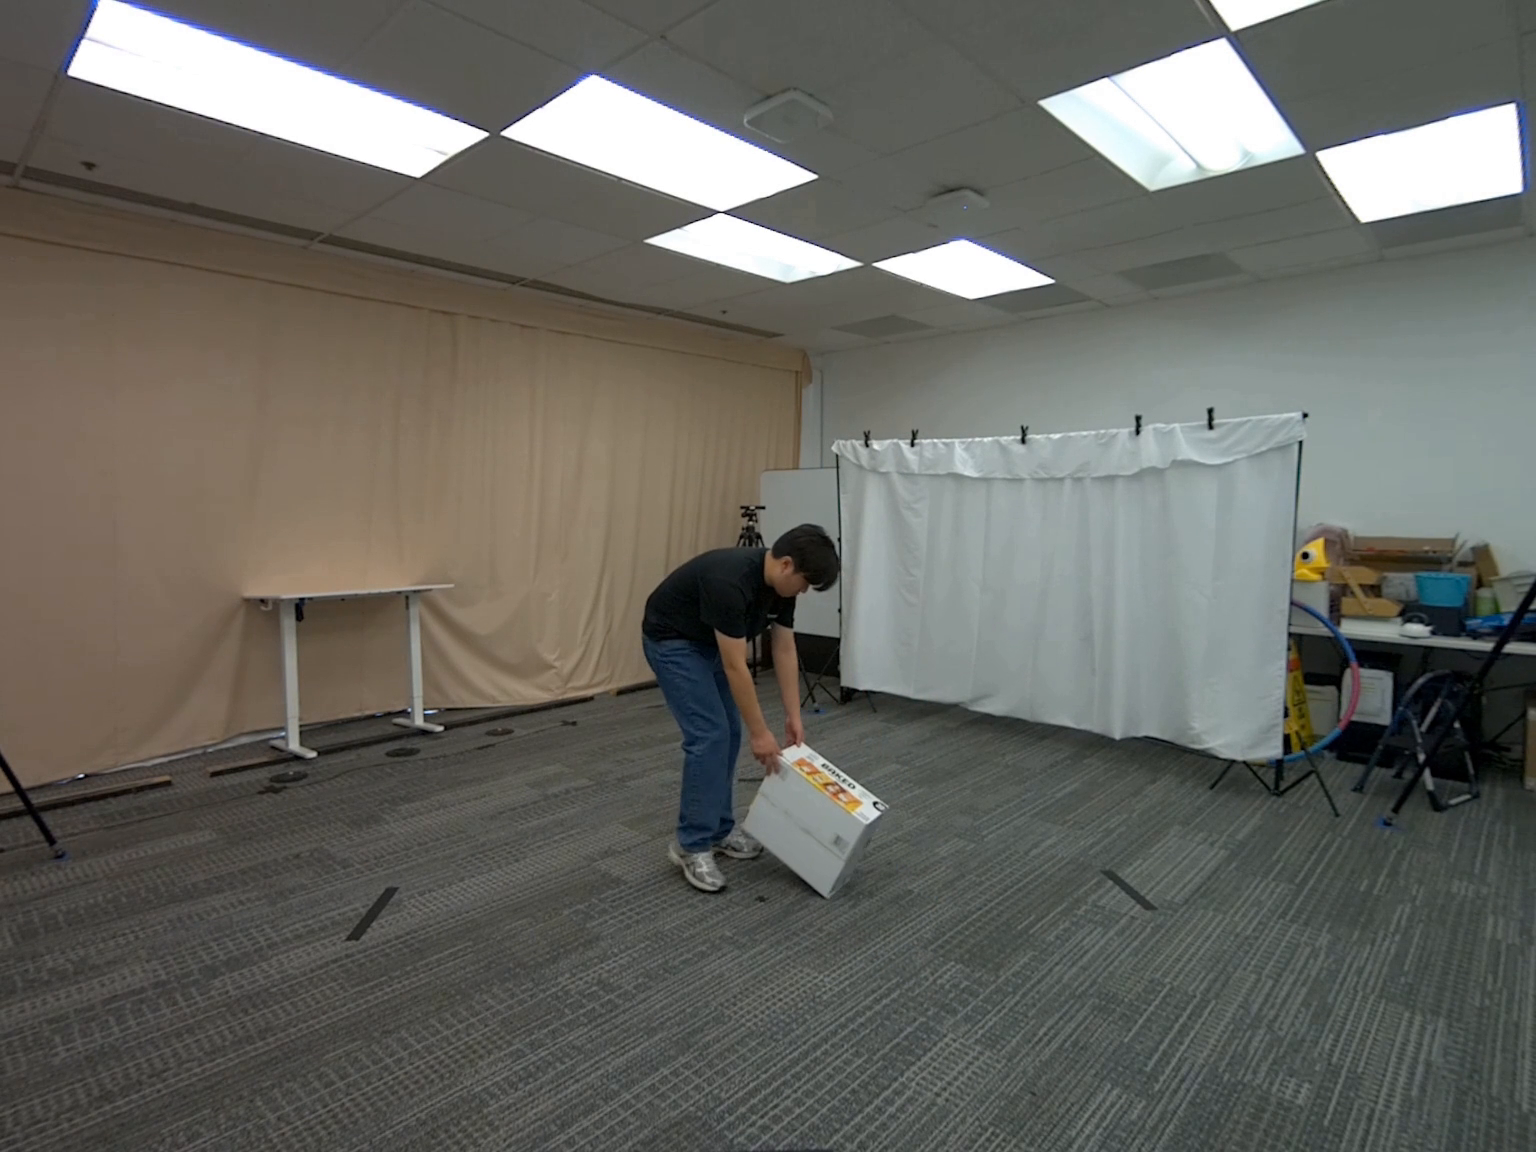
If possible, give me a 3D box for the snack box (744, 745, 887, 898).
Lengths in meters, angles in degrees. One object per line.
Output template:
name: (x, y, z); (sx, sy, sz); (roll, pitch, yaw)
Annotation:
snack box: (0.176, 0.892, 3.096); (0.418, 0.339, 0.200); (33, 19, 27)
